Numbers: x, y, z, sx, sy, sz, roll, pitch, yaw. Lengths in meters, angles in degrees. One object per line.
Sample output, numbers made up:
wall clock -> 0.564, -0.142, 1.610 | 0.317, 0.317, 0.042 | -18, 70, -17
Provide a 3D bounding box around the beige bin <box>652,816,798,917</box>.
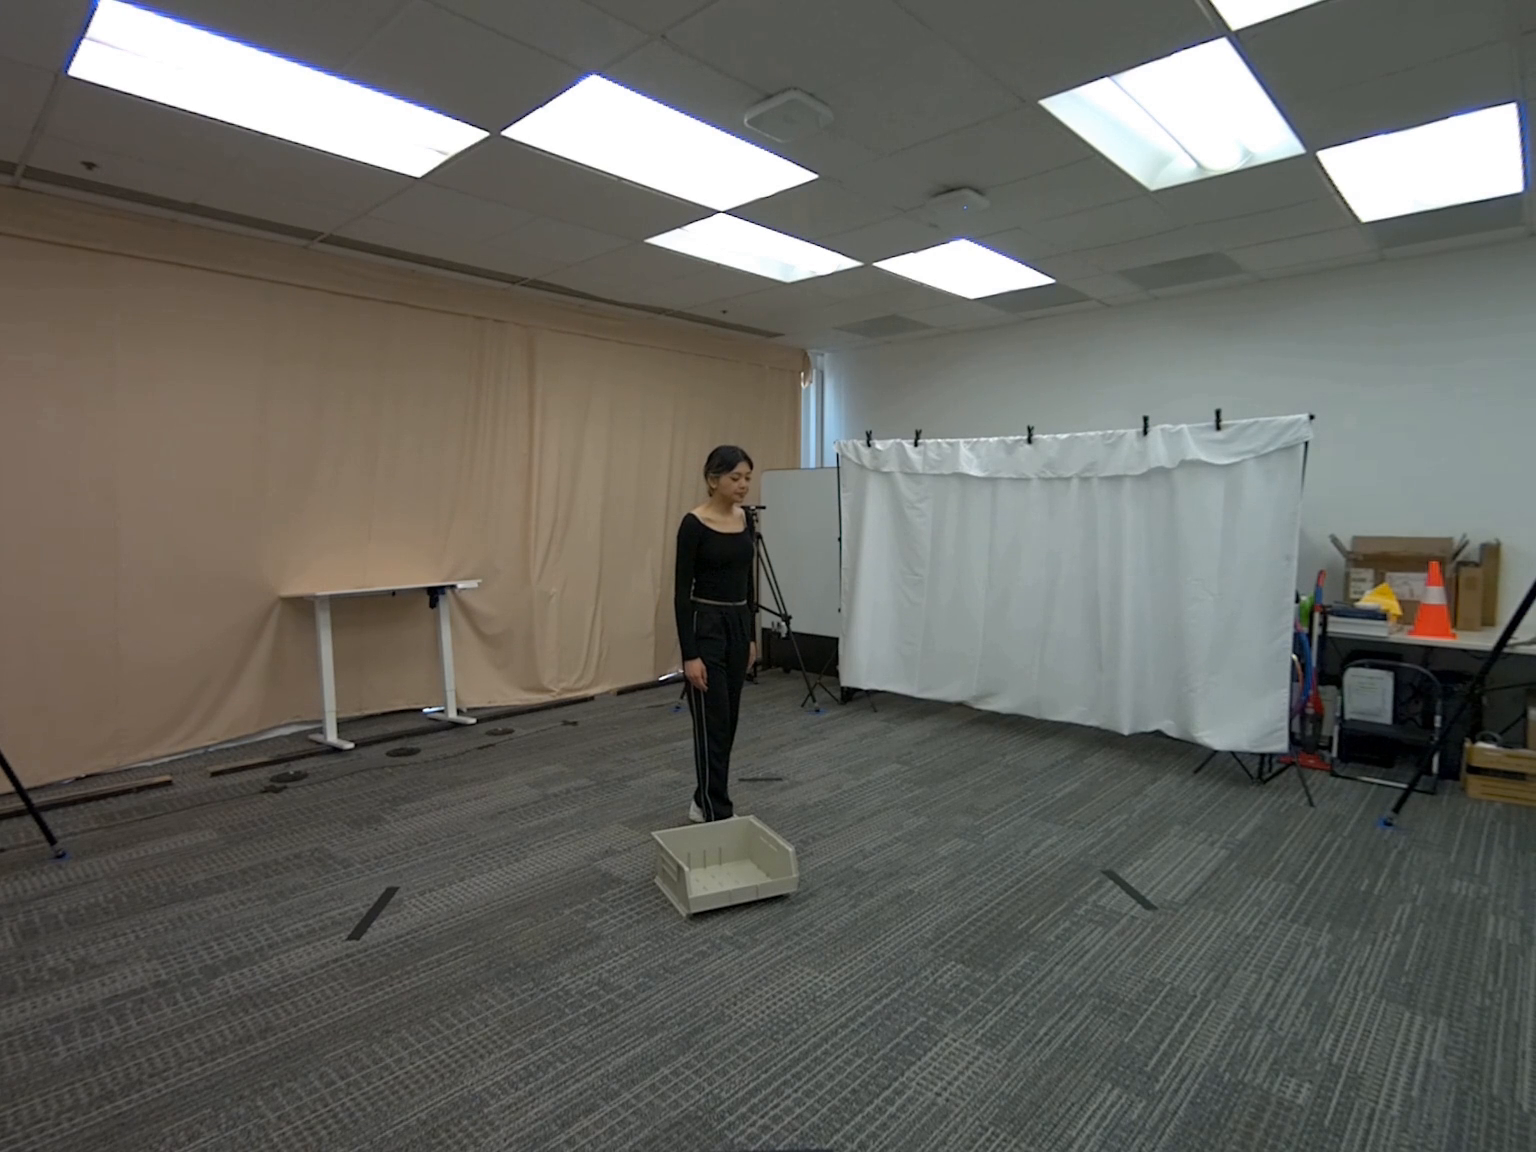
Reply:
beige bin -> -0.159, 1.052, 3.049 | 0.412, 0.188, 0.387 | -3, 5, -25
